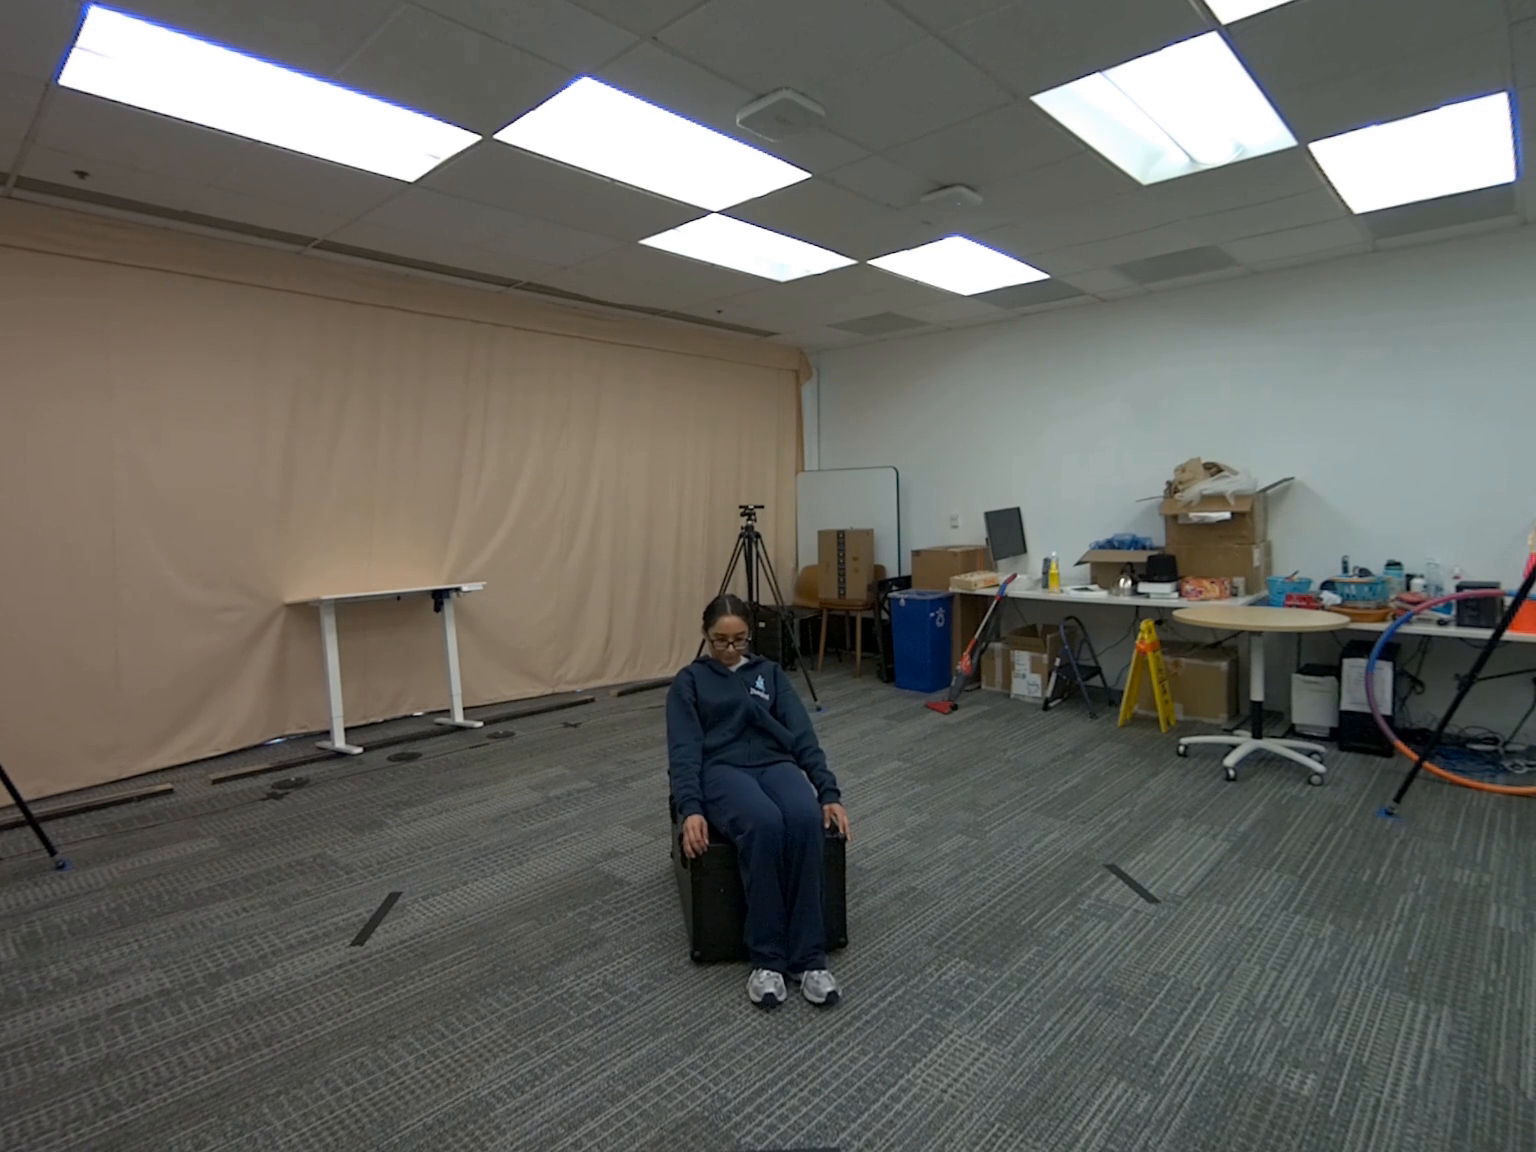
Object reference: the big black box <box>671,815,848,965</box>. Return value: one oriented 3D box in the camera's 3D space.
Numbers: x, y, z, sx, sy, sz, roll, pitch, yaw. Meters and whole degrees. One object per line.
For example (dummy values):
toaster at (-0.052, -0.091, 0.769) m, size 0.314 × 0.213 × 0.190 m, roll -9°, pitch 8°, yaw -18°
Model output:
big black box at (-0.073, 0.948, 2.975) m, size 0.516 × 0.395 × 0.872 m, roll -2°, pitch 5°, yaw -10°
